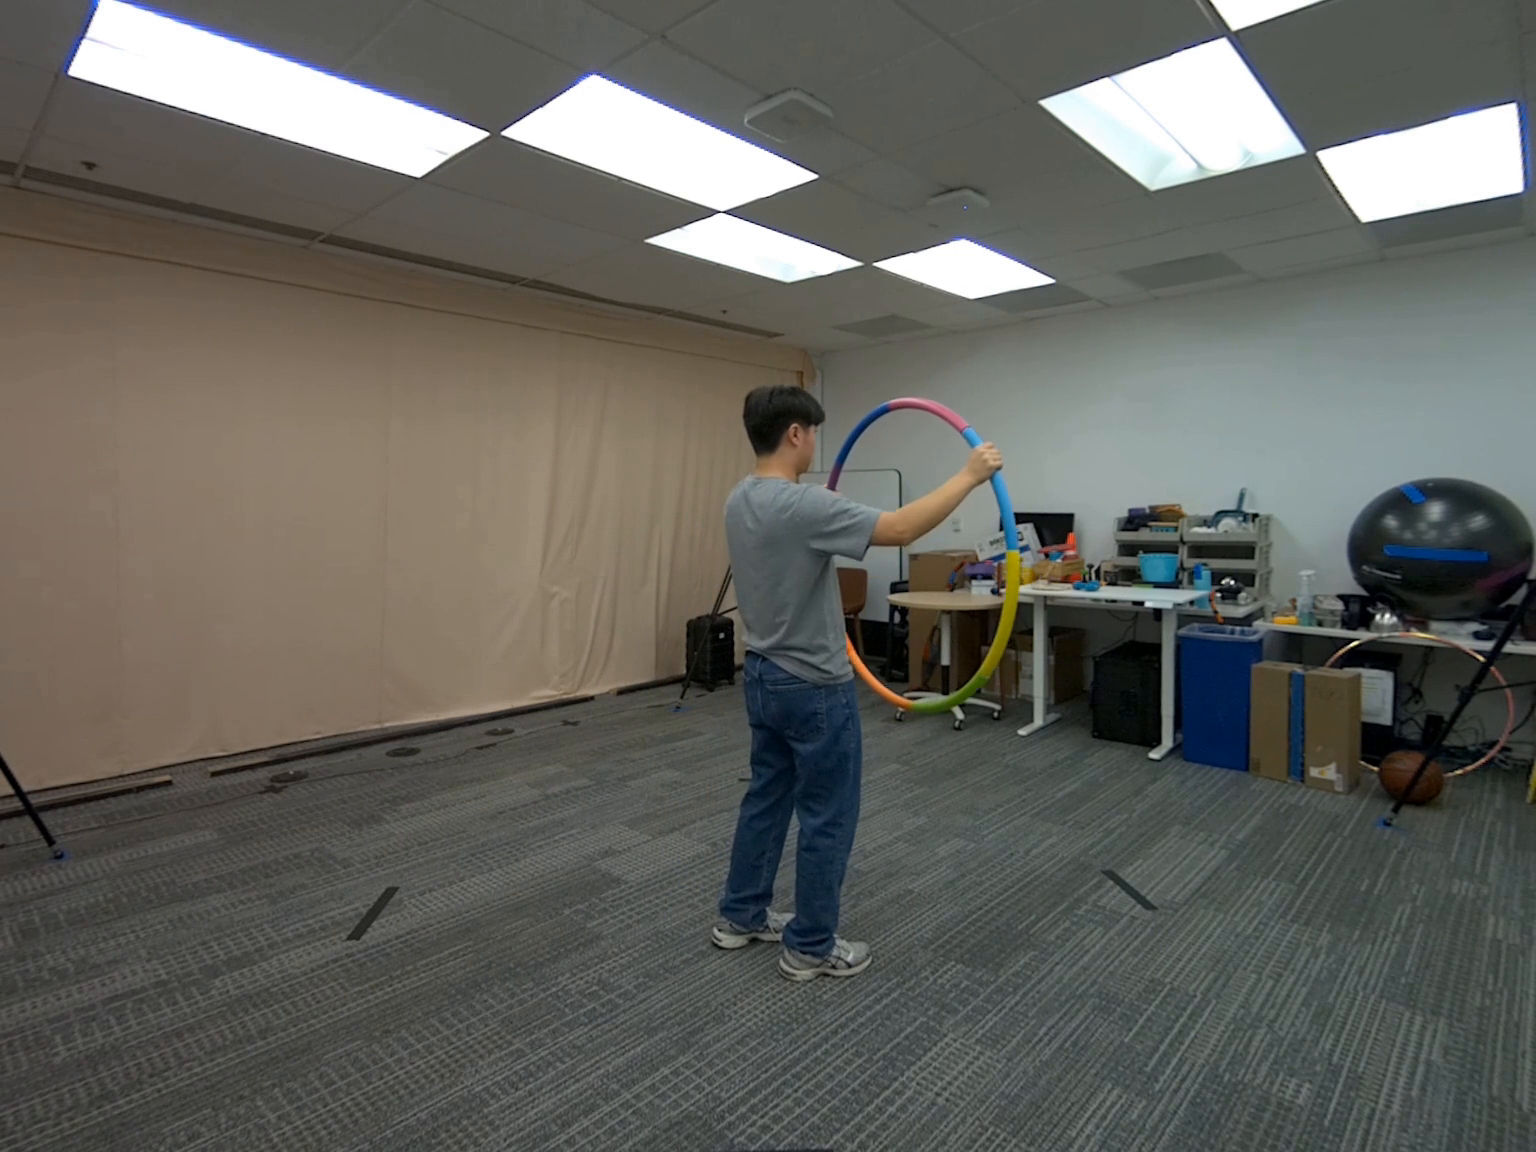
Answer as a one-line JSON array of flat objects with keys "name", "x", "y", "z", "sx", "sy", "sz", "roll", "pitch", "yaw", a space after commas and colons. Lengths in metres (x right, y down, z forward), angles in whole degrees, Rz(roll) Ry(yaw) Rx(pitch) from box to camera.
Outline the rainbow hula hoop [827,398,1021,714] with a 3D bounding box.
[{"name": "rainbow hula hoop", "x": 0.429, "y": -0.059, "z": 2.679, "sx": 0.035, "sy": 0.976, "sz": 1.005, "roll": -4, "pitch": 5, "yaw": -26}]
